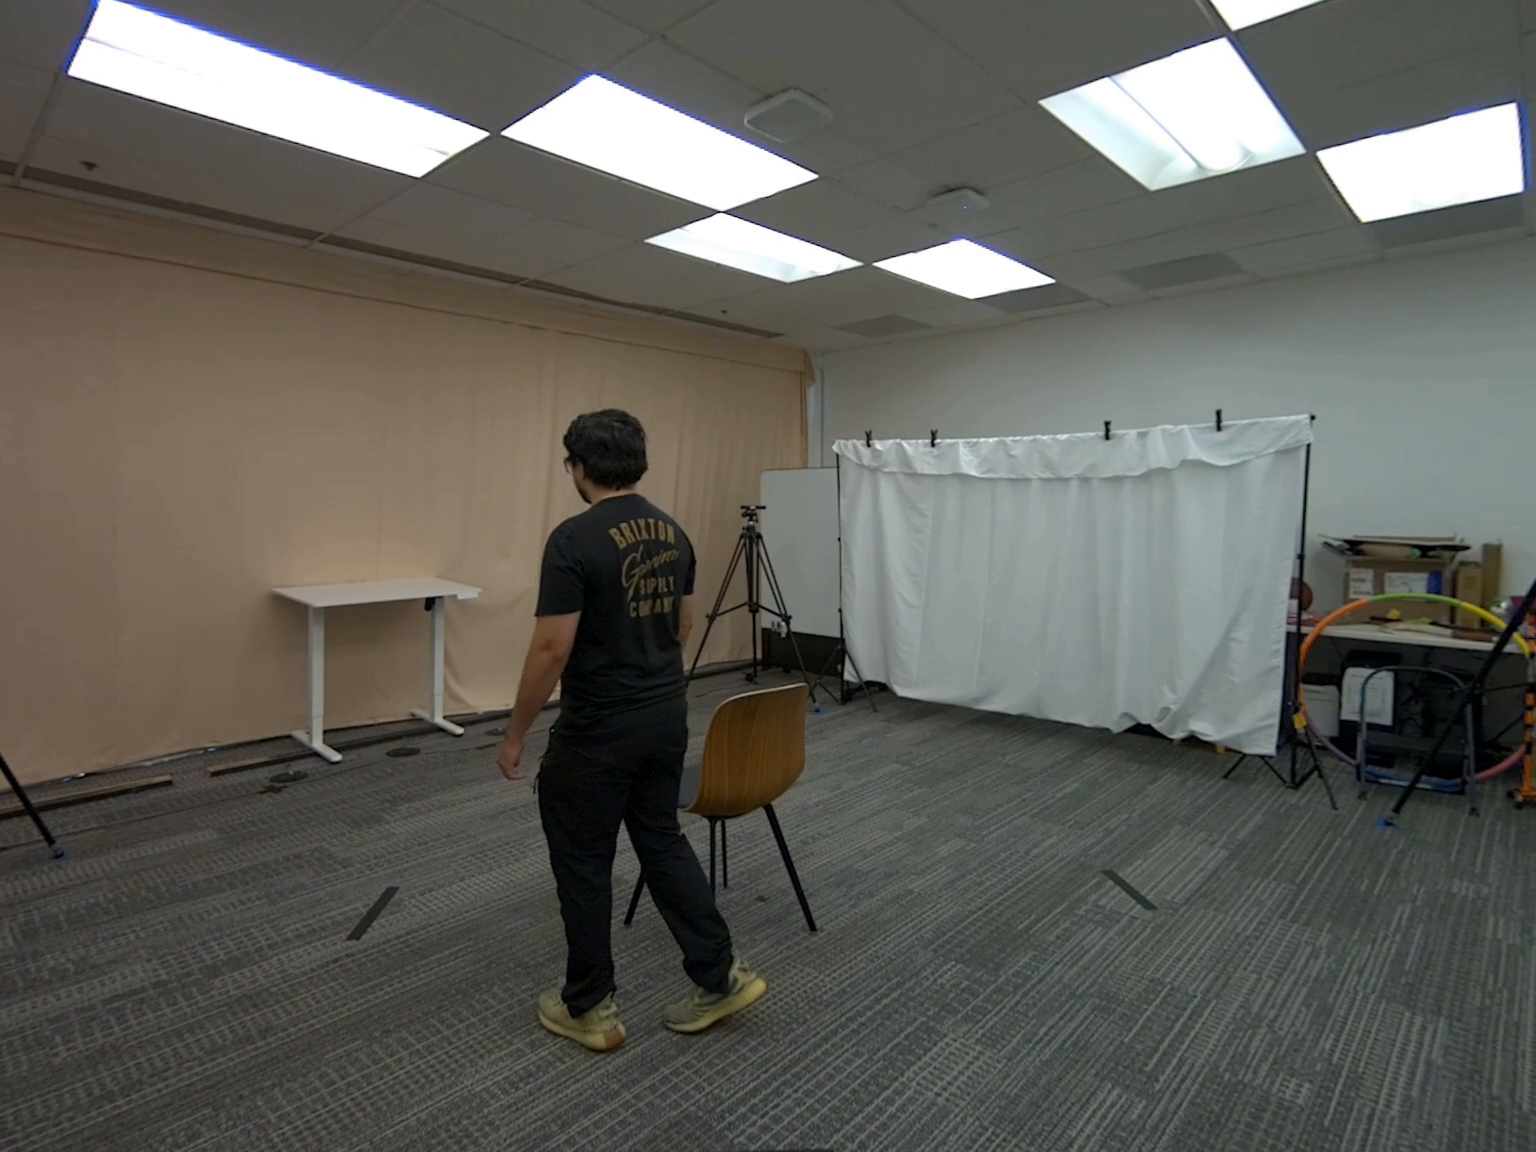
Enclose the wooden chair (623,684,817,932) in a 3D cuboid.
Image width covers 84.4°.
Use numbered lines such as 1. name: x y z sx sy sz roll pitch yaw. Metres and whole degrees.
1. wooden chair: -0.162 0.737 2.755 0.463 0.874 0.541 -3 9 -42
